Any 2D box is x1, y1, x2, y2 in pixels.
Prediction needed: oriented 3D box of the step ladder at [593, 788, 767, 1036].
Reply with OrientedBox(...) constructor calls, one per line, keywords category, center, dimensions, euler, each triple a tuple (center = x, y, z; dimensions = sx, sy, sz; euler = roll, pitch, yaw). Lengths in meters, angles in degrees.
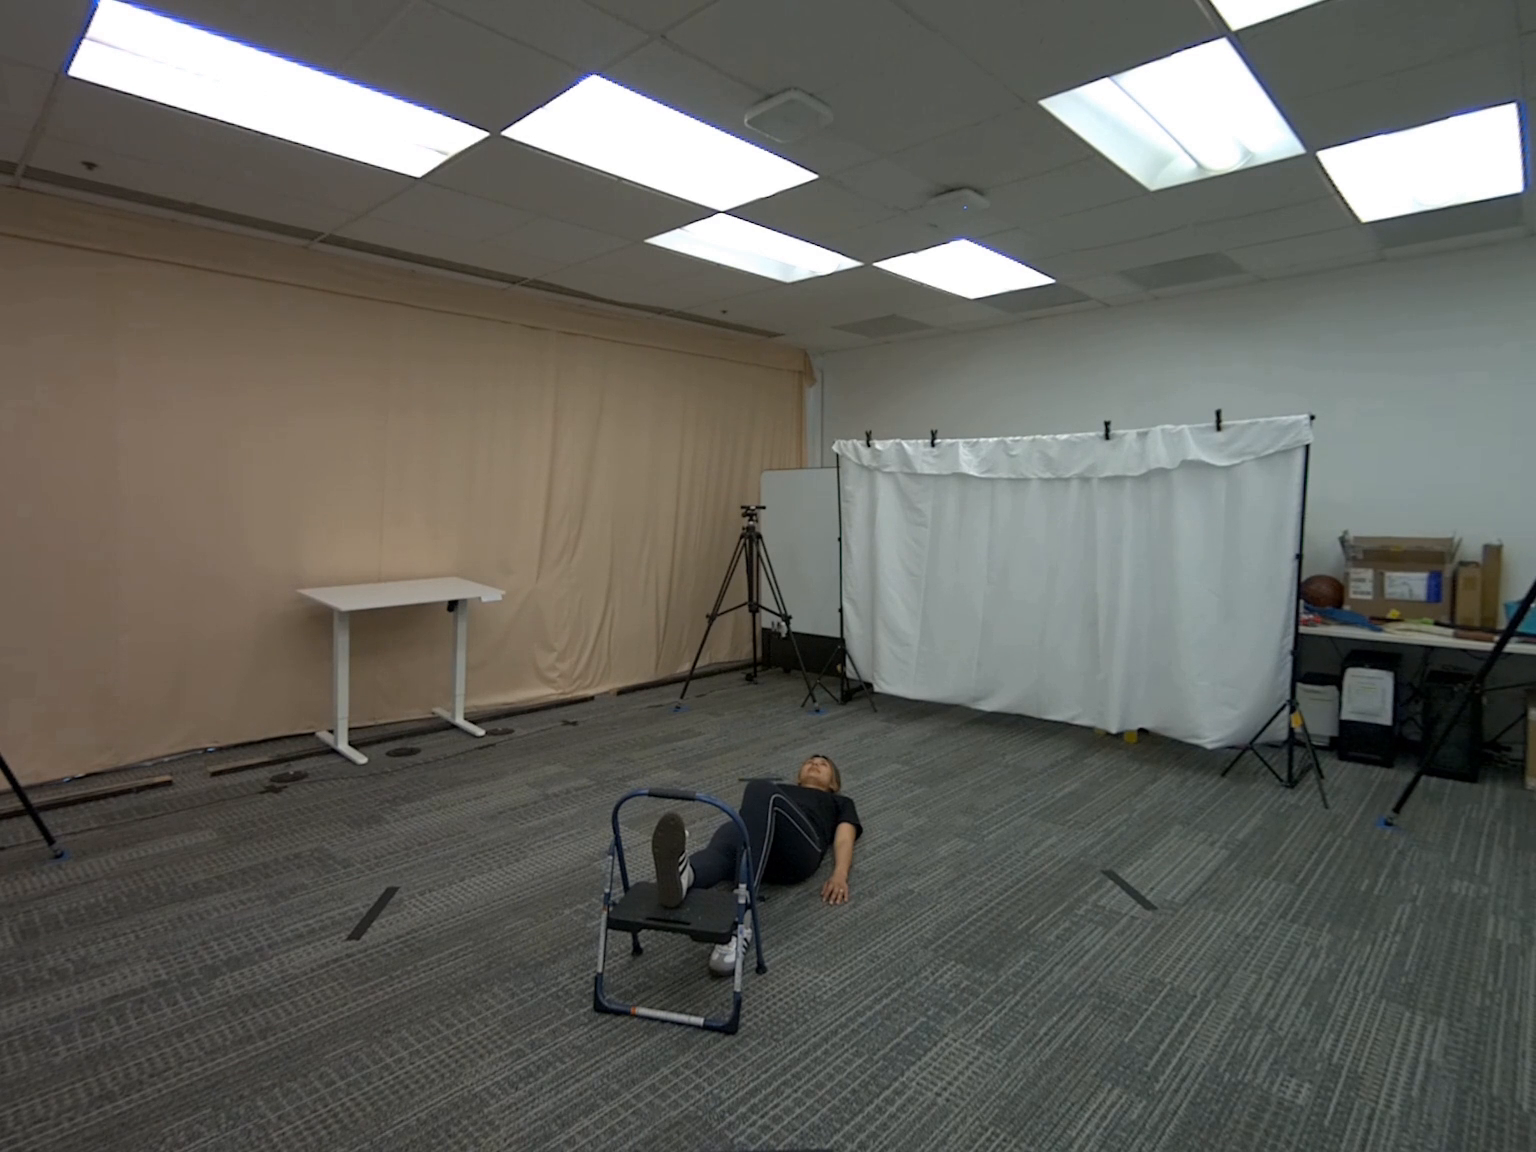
OrientedBox(category="step ladder", center=(-0.252, 0.893, 2.410), dimensions=(0.438, 0.605, 0.344), euler=(1, 3, 14))
